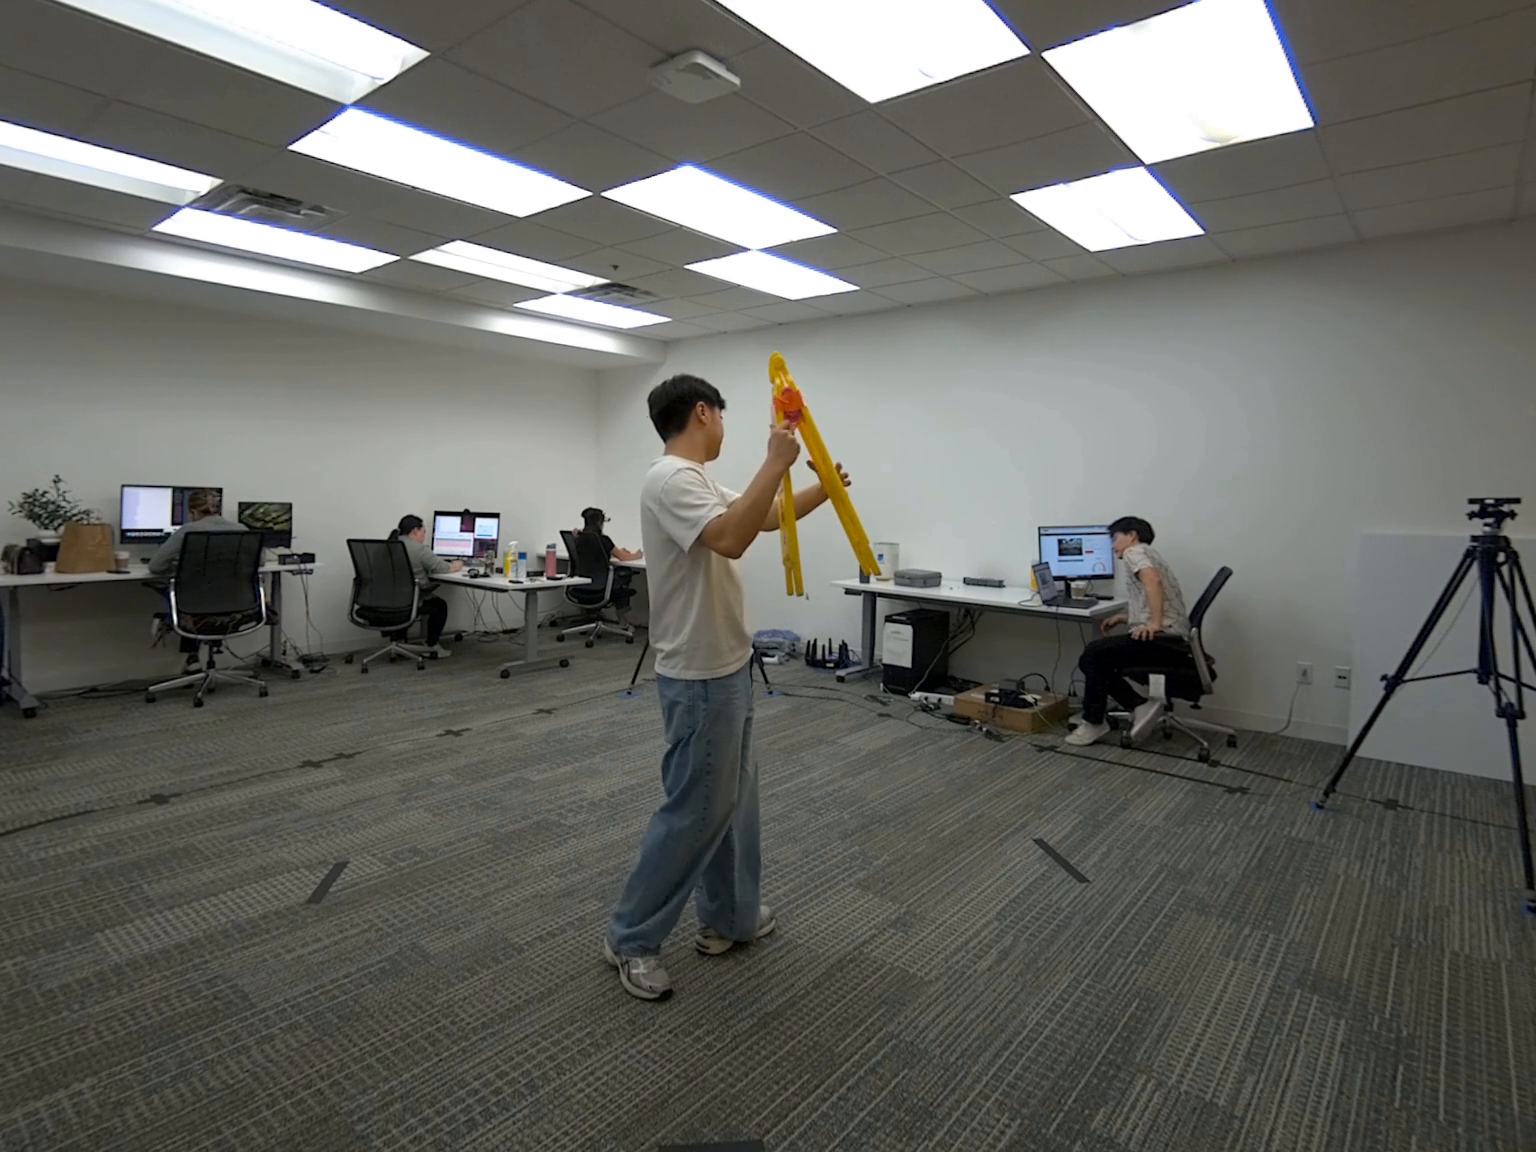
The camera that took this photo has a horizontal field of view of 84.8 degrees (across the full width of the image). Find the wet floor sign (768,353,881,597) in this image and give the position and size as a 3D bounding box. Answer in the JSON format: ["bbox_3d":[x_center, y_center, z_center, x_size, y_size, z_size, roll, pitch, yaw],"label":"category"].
[{"bbox_3d":[0.083,-0.290,2.350,0.289,0.648,0.282,-15,-2,-2],"label":"wet floor sign"}]
